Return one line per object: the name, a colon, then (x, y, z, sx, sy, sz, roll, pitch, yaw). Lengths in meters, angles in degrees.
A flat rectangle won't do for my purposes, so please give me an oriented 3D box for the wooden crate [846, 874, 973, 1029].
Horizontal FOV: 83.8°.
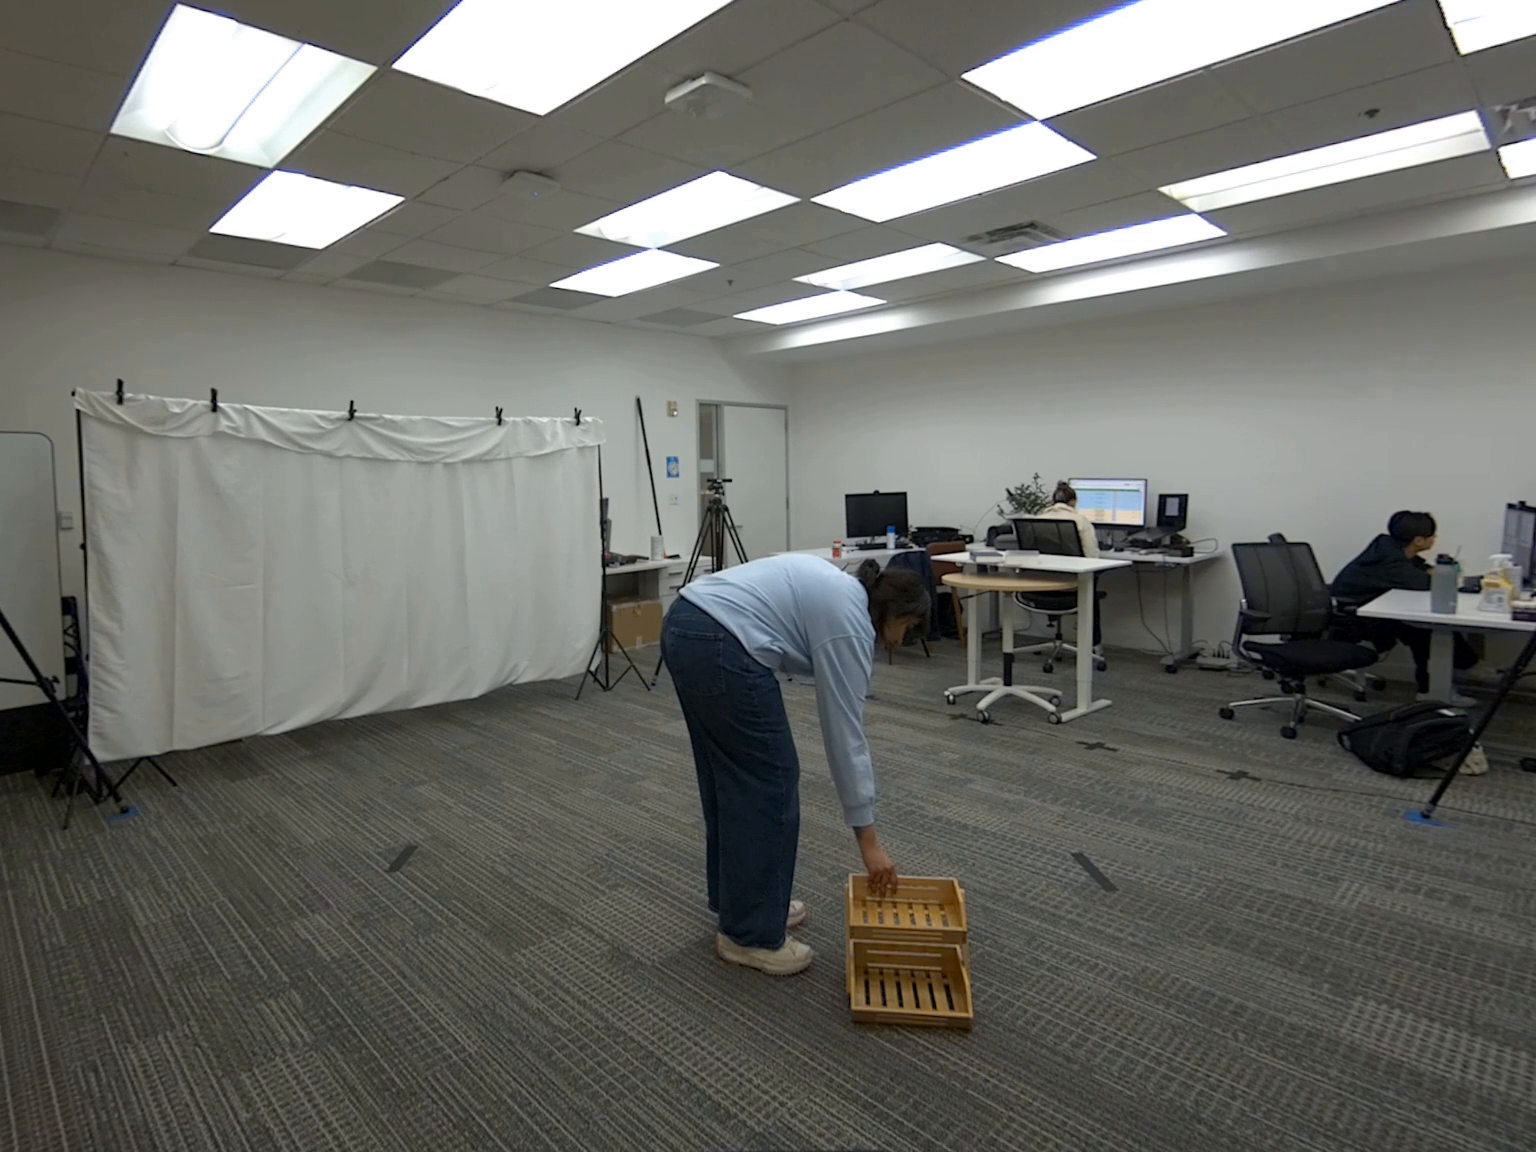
wooden crate: (0.383, 1.002, 2.290, 0.327, 0.272, 0.301, -1, 5, 7)
